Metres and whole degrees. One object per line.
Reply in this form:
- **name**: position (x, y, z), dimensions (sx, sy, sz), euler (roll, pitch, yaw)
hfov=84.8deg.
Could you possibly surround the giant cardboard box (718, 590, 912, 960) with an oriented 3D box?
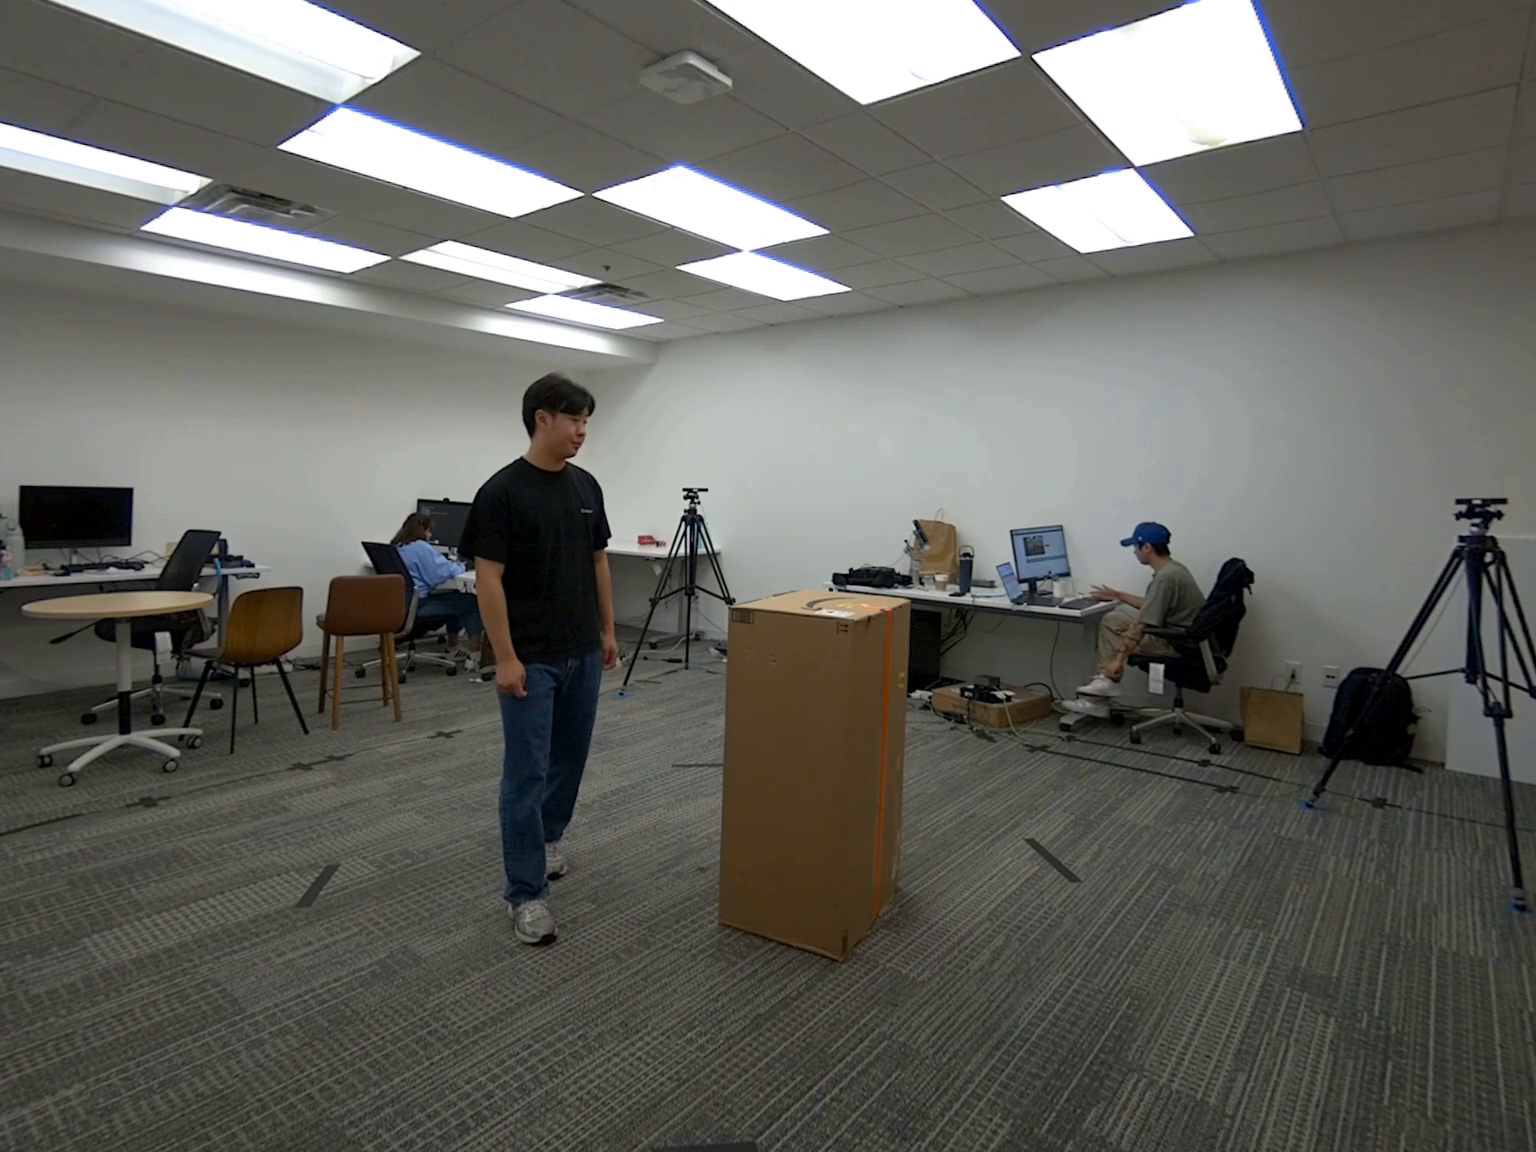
- **giant cardboard box**: position (0.162, 0.595, 2.832), dimensions (0.460, 1.024, 0.569), euler (4, 4, 28)
